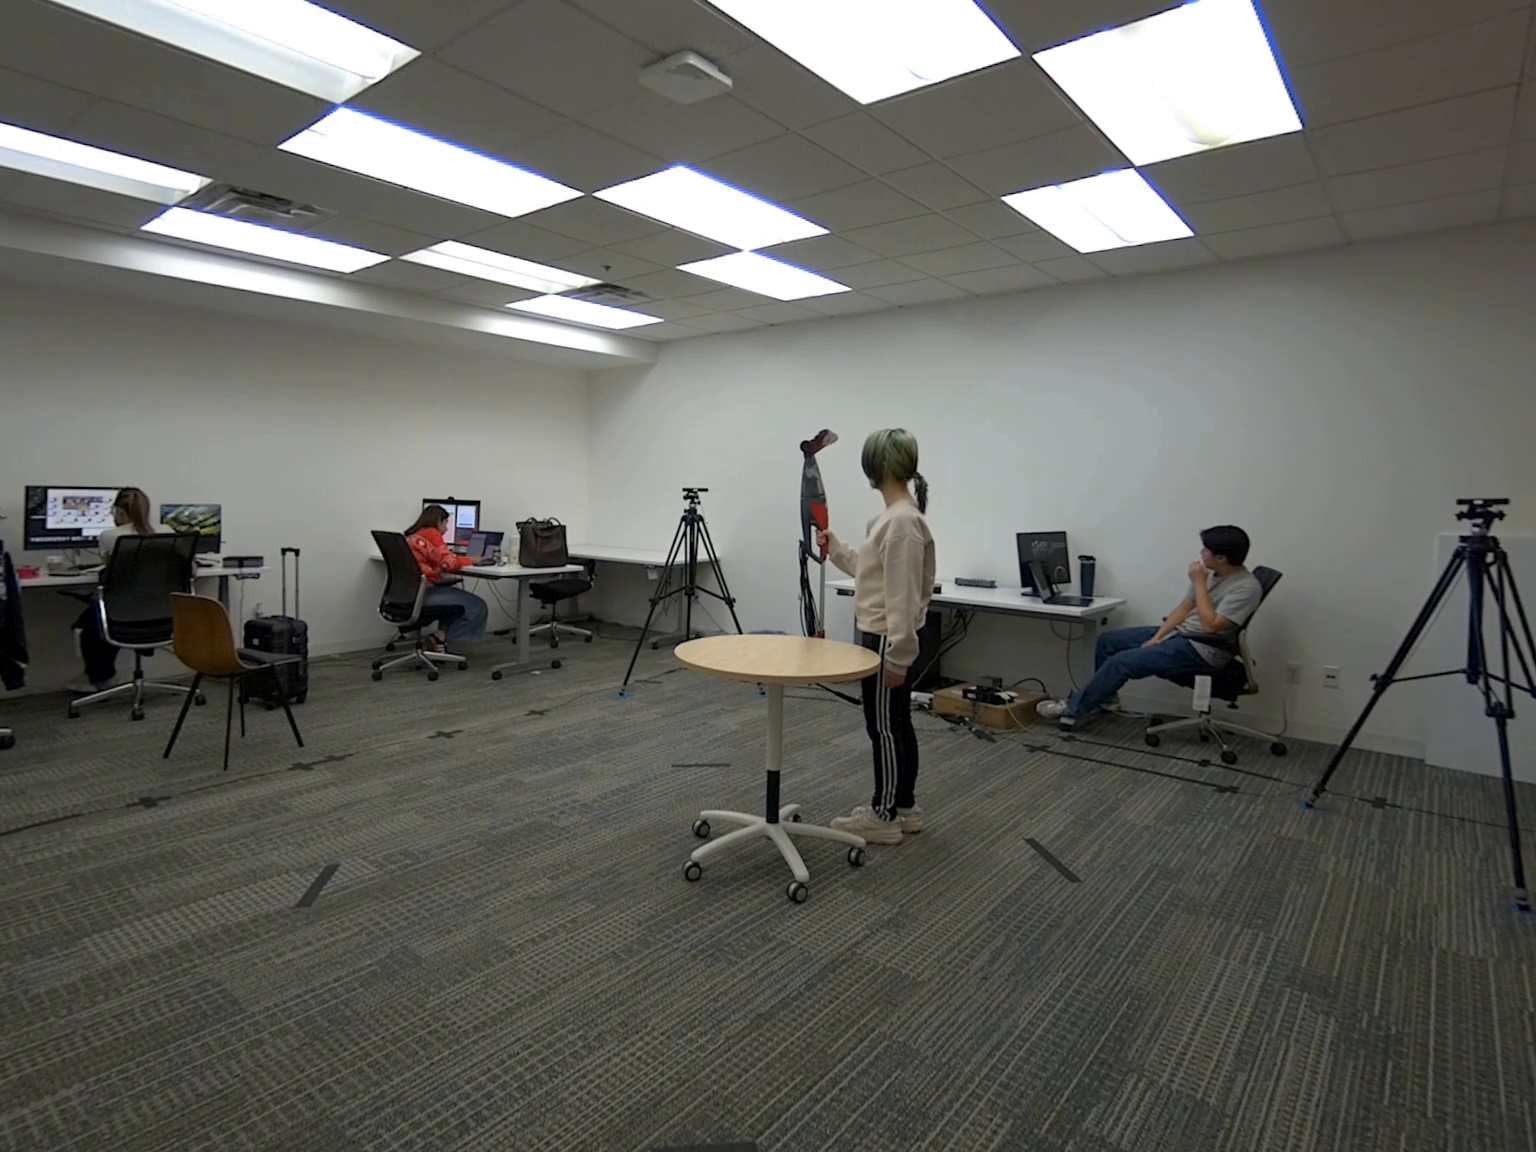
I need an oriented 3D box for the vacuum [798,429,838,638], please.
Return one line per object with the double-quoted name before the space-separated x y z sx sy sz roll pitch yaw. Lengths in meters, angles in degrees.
"vacuum" 0.184 -0.077 3.674 0.147 1.048 0.248 3 2 16
